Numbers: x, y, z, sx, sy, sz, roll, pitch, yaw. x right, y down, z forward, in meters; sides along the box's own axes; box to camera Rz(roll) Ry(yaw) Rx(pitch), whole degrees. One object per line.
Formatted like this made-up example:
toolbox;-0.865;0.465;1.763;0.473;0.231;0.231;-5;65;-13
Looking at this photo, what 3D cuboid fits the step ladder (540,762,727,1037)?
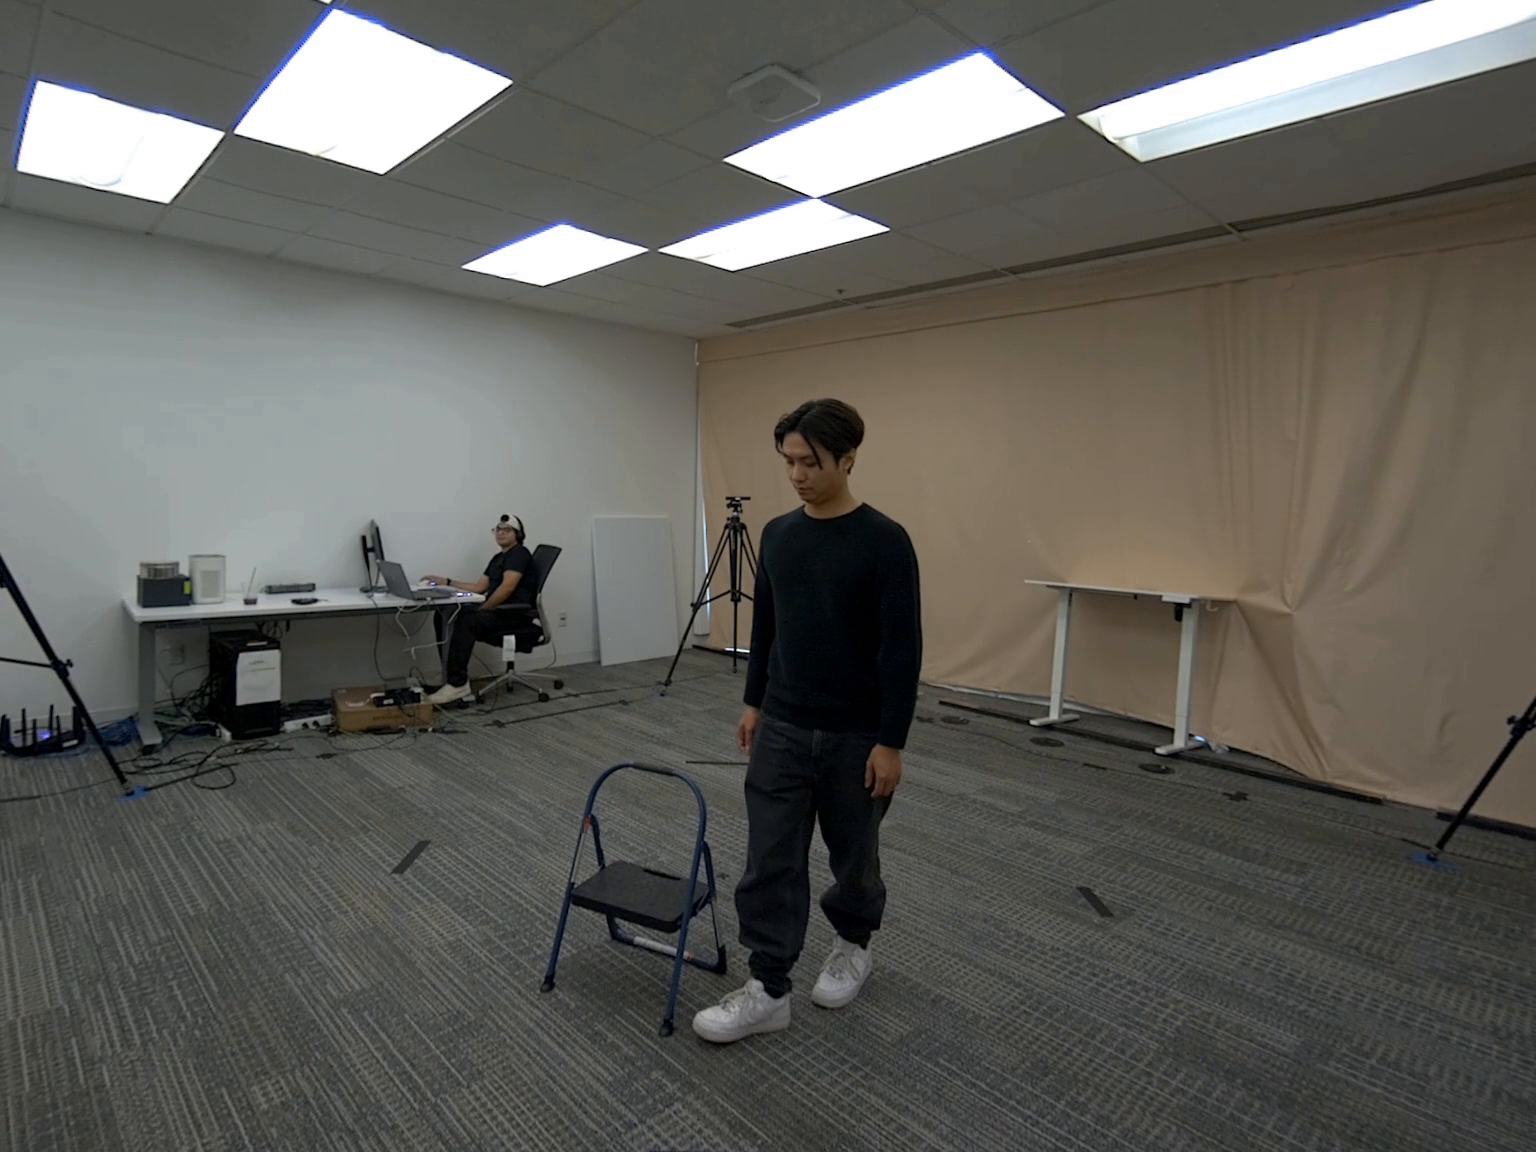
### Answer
step ladder;-0.375;0.864;2.399;0.439;0.604;0.343;4;5;26
